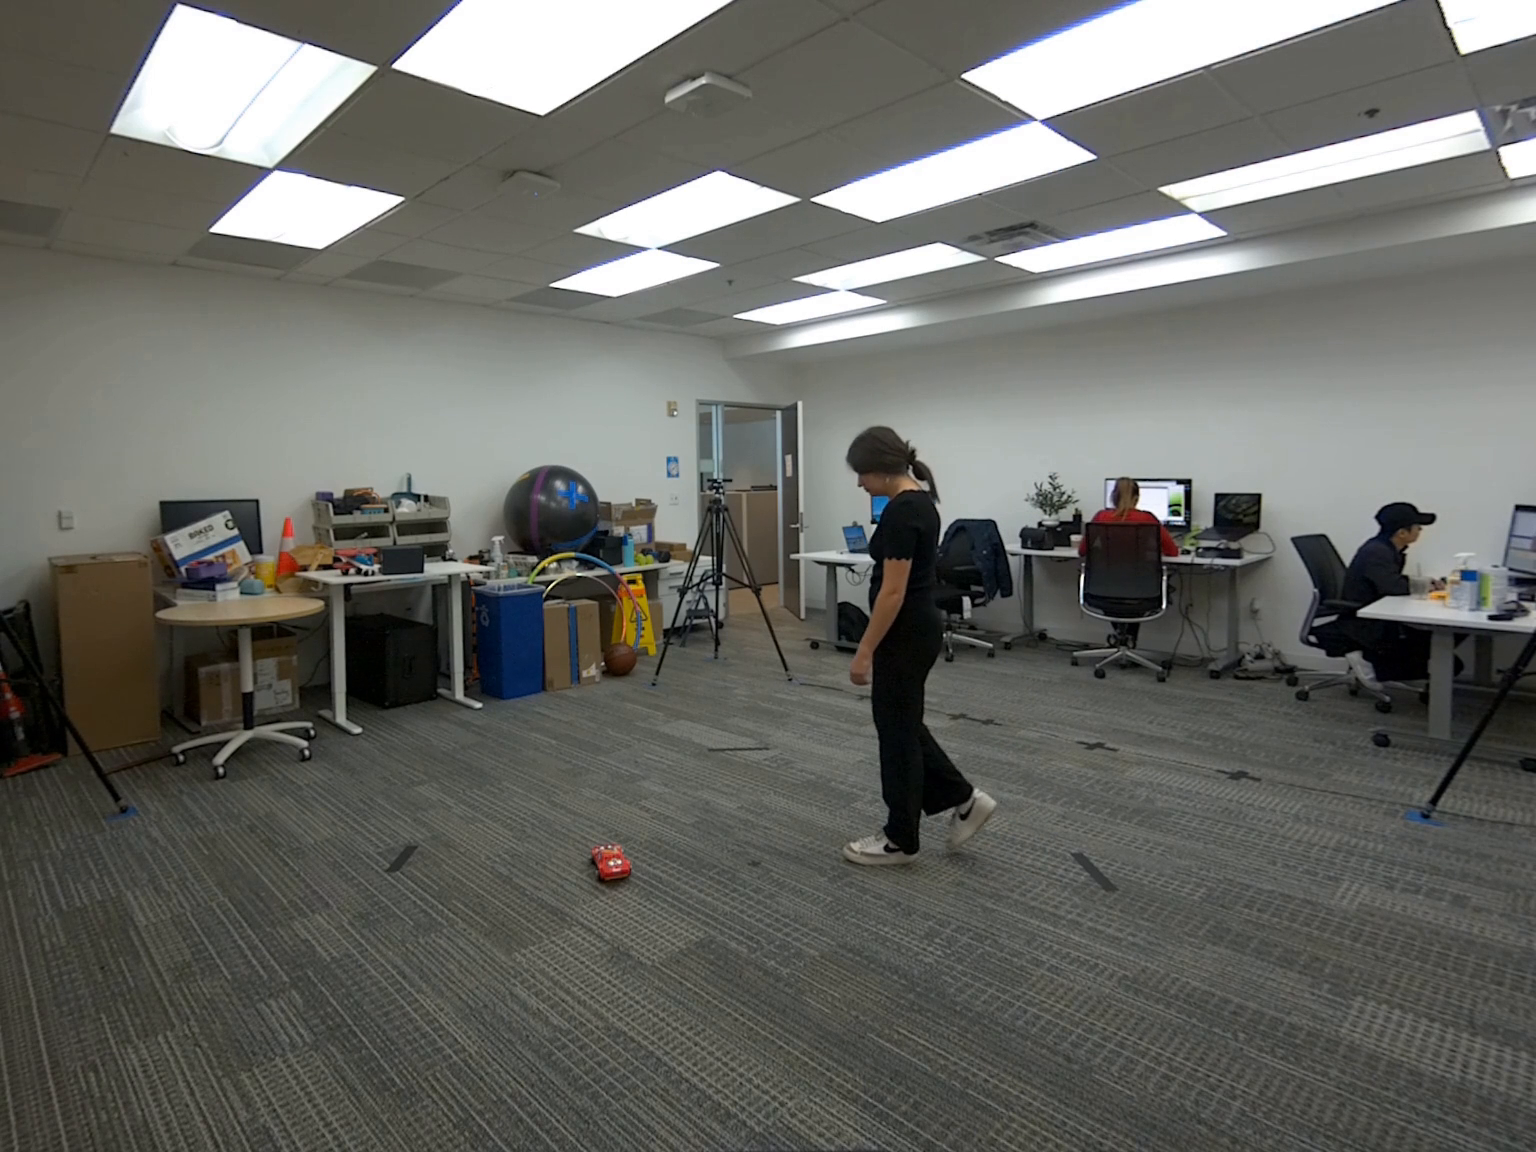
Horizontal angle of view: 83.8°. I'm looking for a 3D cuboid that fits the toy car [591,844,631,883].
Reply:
[{"bbox_3d":[-0.562,1.027,3.053,0.128,0.084,0.257,-4,-4,-20],"label":"toy car"}]
